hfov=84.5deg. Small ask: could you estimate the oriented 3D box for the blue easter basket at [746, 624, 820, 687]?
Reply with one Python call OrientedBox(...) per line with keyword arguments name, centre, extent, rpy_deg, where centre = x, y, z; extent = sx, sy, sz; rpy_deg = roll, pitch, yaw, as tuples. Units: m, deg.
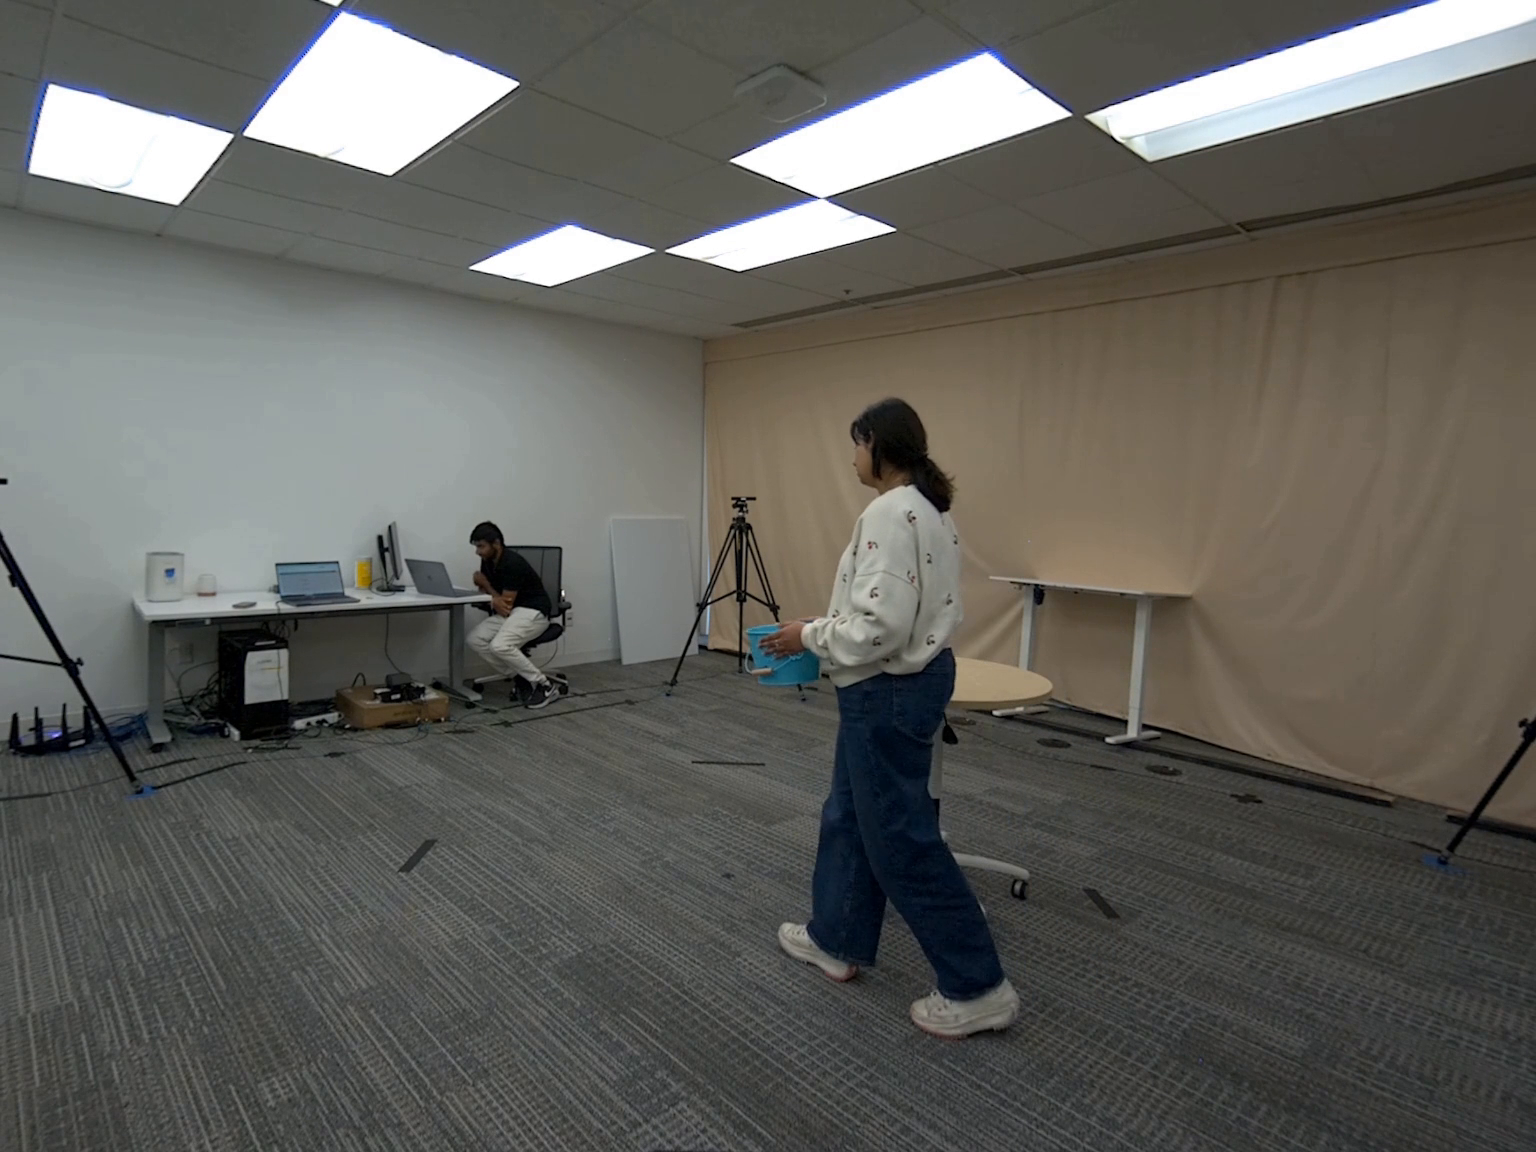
OrientedBox(name="blue easter basket", centre=(0.054, 0.224, 2.434), extent=(0.243, 0.156, 0.244), rpy_deg=(-3, 1, -1))
